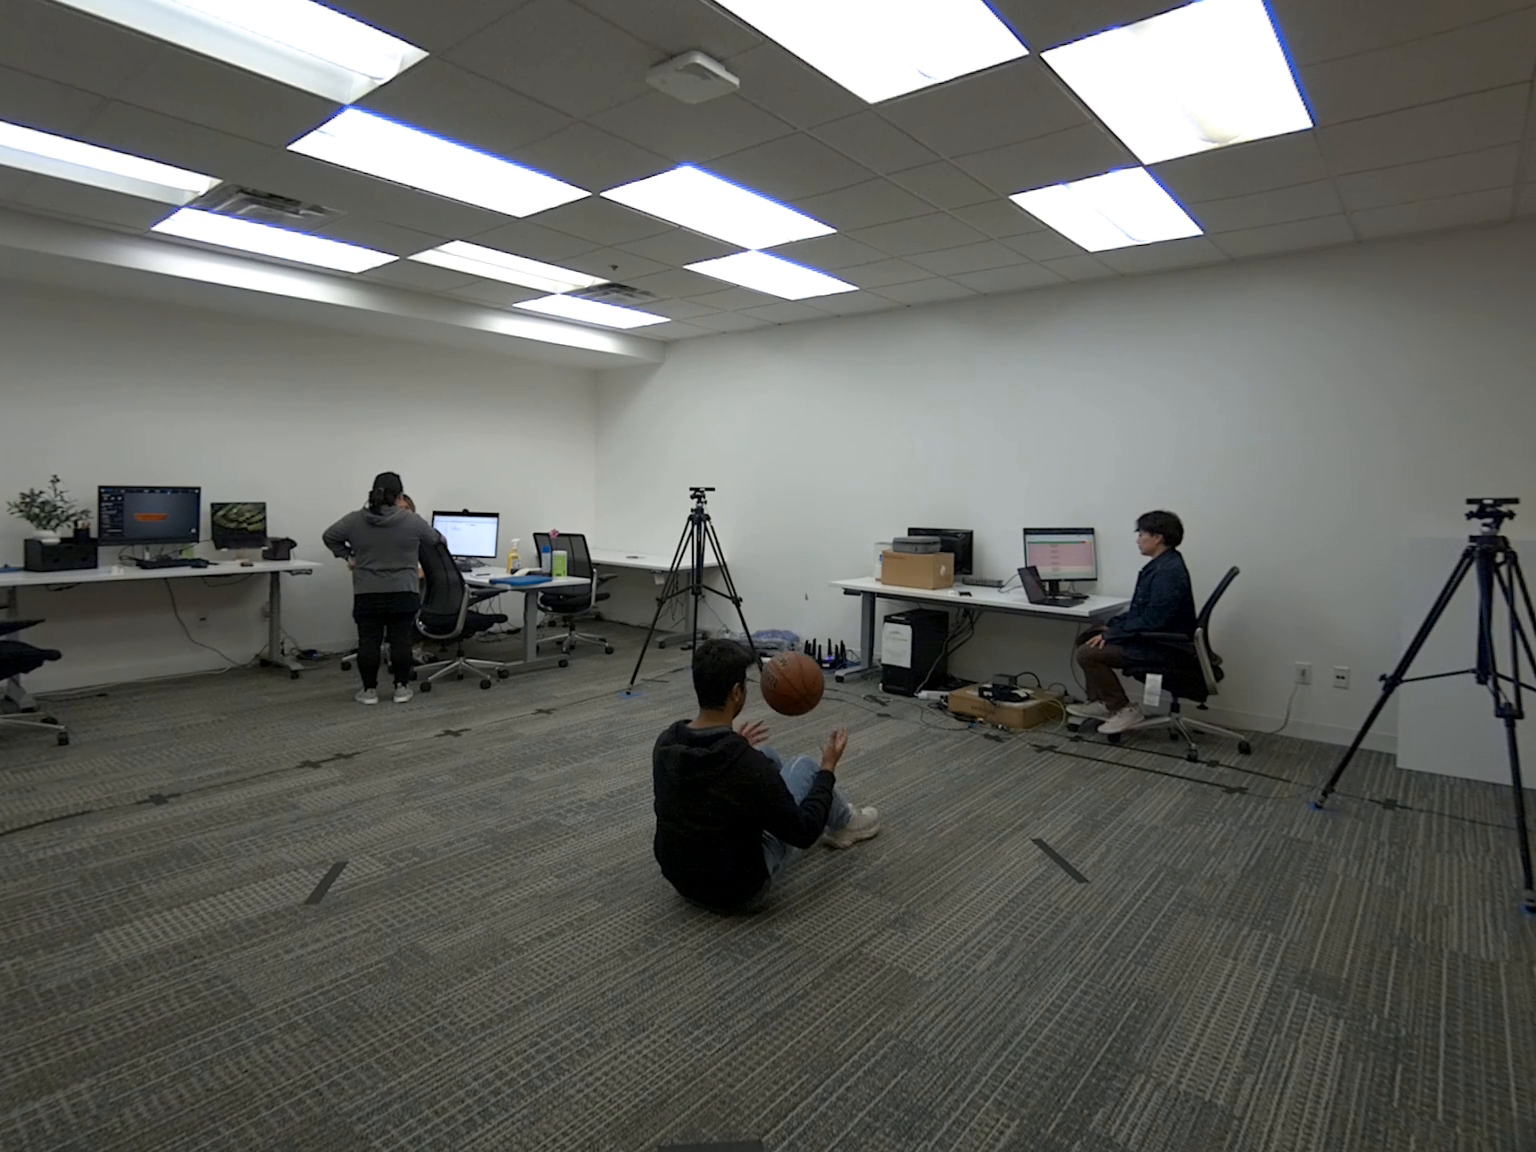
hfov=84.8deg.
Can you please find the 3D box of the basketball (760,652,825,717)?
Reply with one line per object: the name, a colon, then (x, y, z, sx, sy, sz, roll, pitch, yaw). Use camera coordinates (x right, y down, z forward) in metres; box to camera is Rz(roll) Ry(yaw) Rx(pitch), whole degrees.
basketball: (0.077, 0.441, 3.166, 0.235, 0.235, 0.237, 1, 4, -2)
